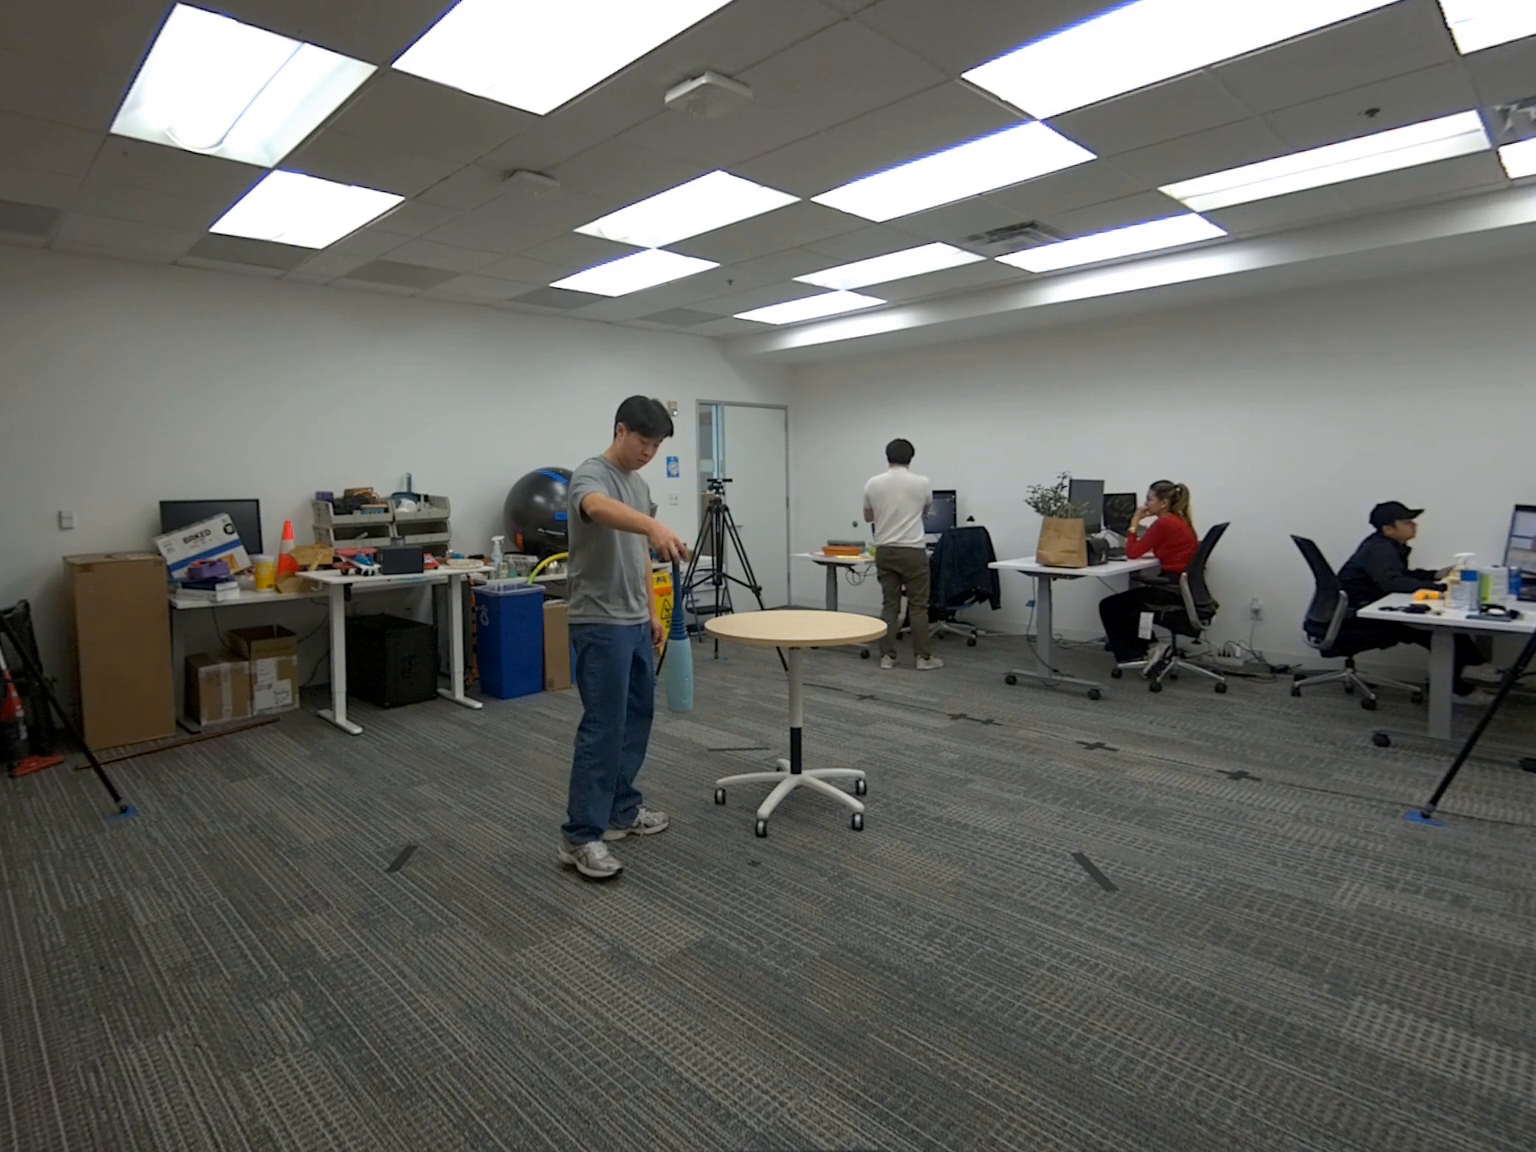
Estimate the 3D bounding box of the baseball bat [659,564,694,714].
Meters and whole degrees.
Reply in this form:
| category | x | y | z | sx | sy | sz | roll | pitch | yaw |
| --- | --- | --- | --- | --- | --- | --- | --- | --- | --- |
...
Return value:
| category | x | y | z | sx | sy | sz | roll | pitch | yaw |
| --- | --- | --- | --- | --- | --- | --- | --- | --- | --- |
| baseball bat | -0.295 | 0.175 | 2.799 | 0.089 | 0.540 | 0.090 | 0 | 7 | -2 |
